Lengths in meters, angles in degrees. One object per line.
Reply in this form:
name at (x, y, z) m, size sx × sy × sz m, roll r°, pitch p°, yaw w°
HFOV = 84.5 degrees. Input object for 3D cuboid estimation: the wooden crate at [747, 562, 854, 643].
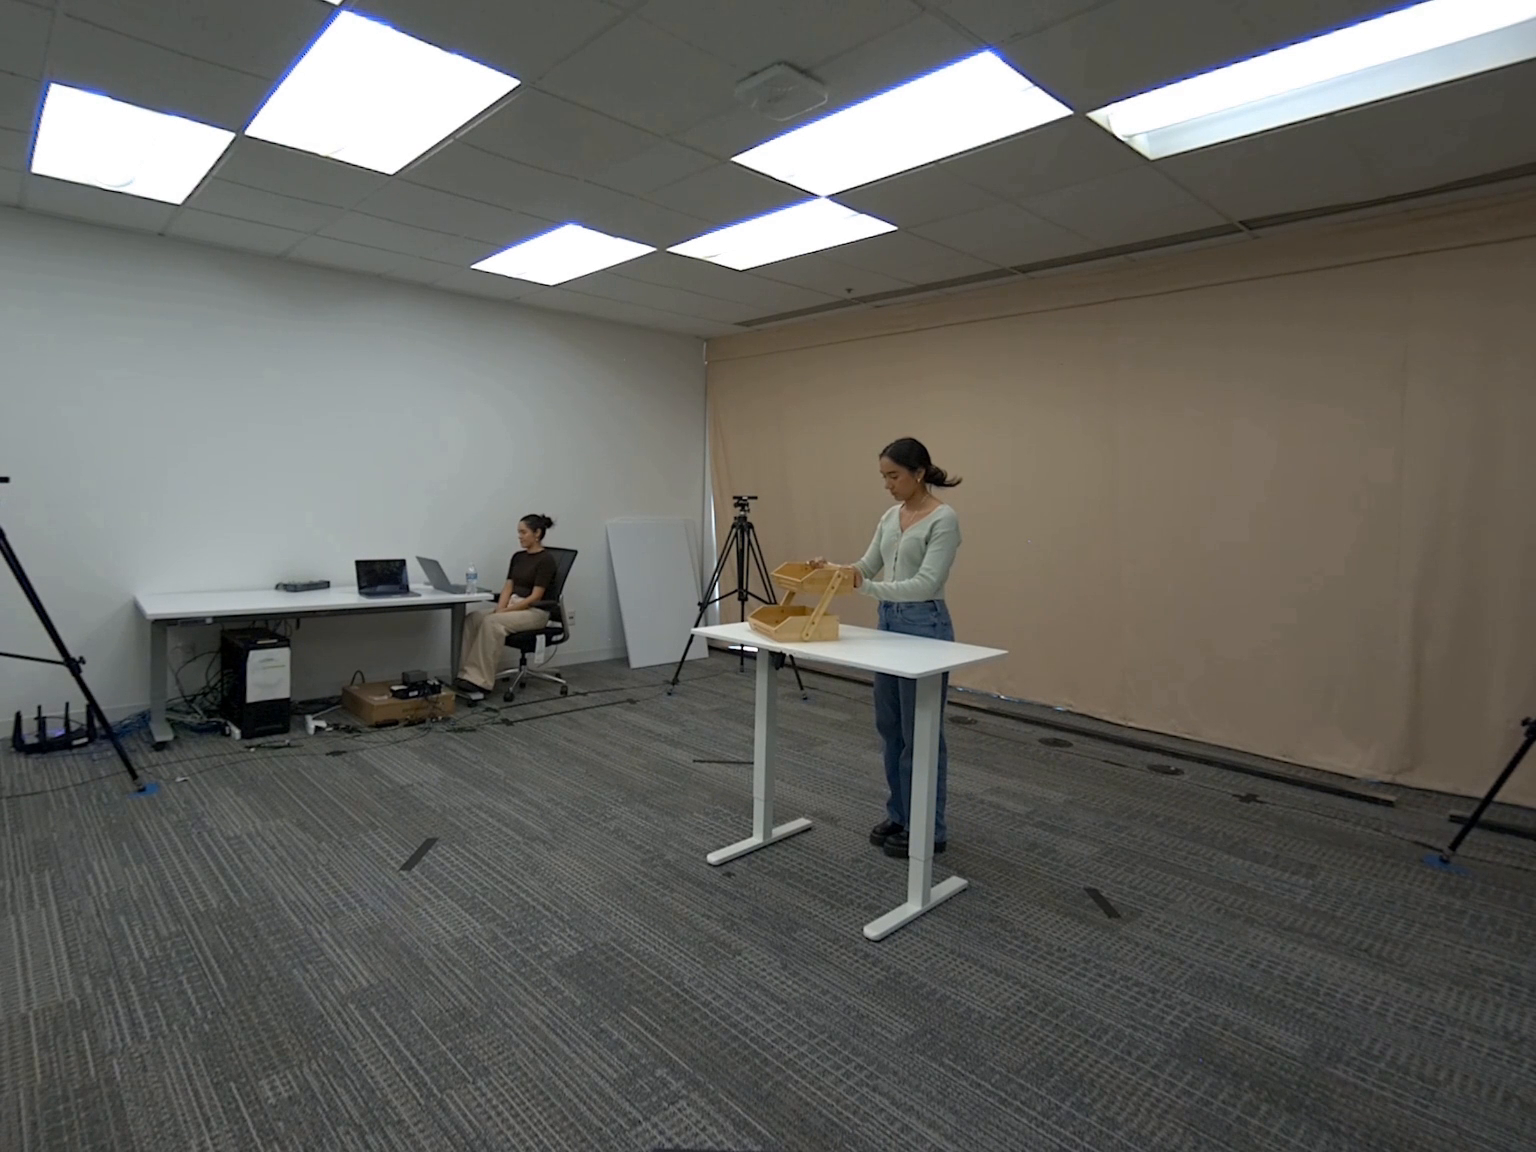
wooden crate at (0.108, 0.087, 3.147) m, size 0.298 × 0.272 × 0.330 m, roll 1°, pitch 6°, yaw -19°
